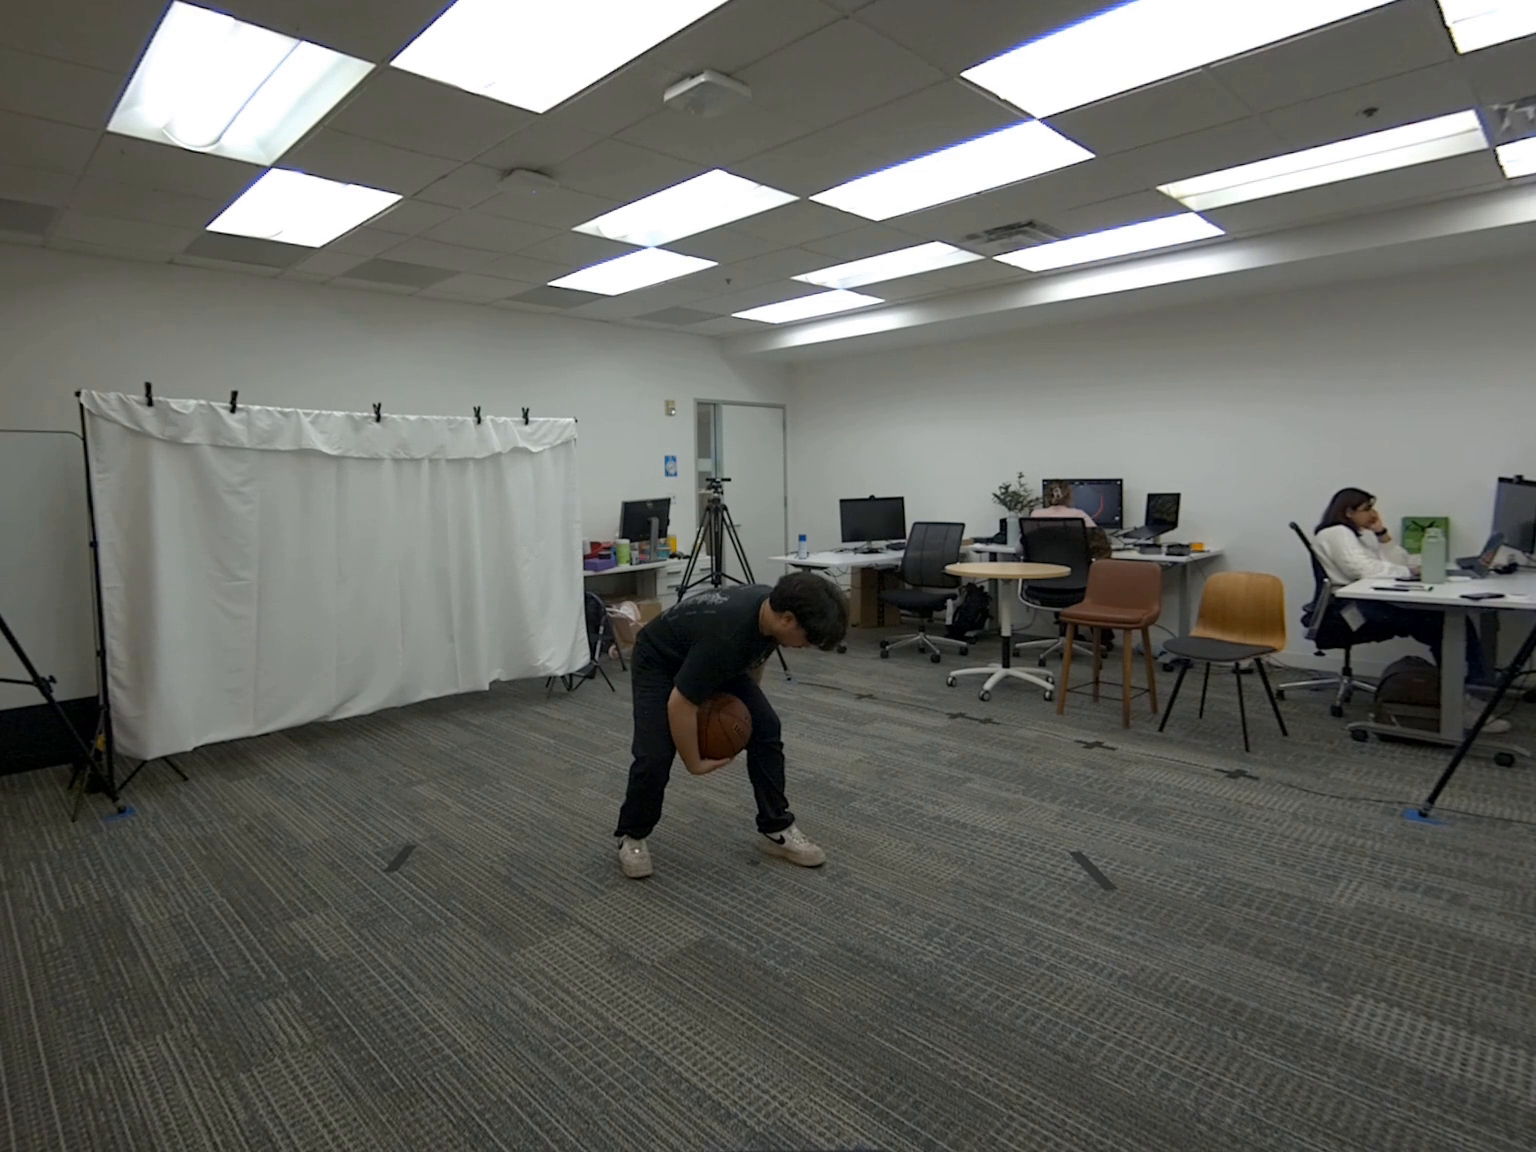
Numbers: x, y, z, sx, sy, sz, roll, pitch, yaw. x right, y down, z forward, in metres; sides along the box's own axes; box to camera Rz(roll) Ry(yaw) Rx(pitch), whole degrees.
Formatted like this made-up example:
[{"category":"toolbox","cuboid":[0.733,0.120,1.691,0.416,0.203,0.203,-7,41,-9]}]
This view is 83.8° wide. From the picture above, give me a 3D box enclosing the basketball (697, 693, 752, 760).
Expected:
[{"category":"basketball","cuboid":[-0.191,0.539,3.035,0.236,0.235,0.237,-1,5,-2]}]
